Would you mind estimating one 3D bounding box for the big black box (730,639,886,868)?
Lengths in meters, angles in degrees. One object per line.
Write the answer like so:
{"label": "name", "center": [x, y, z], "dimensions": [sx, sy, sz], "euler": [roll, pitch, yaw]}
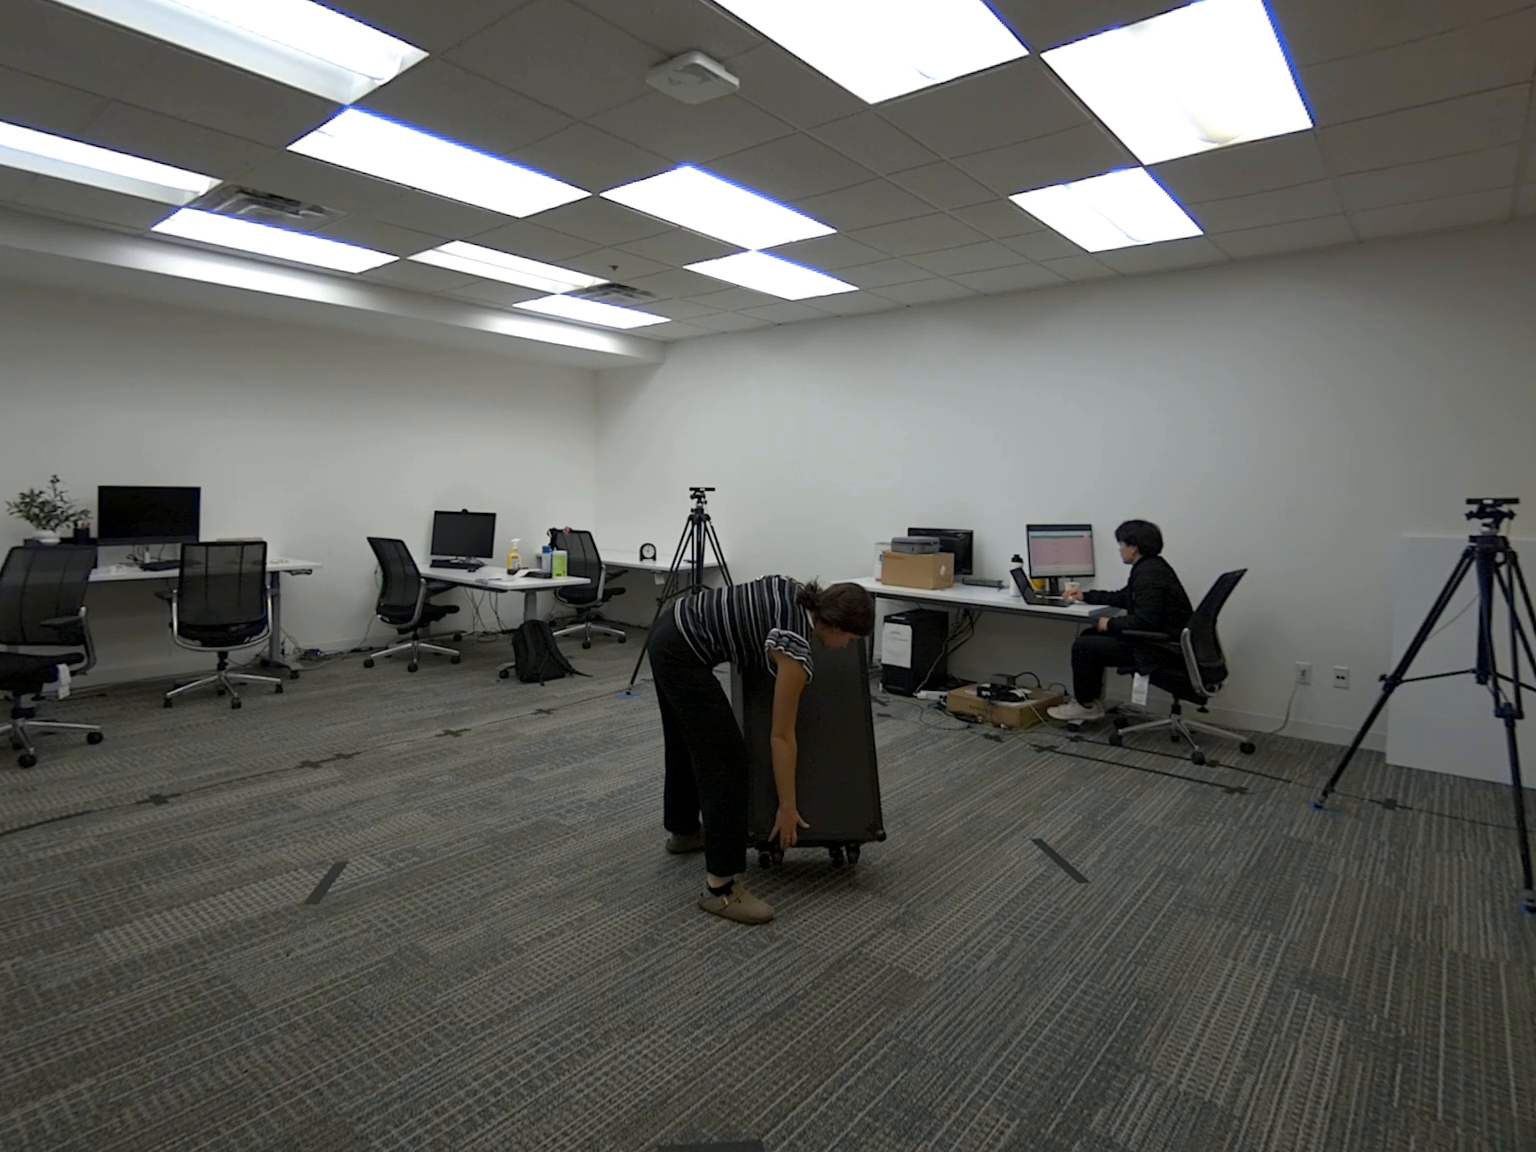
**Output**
{"label": "big black box", "center": [0.114, 0.633, 3.222], "dimensions": [0.518, 0.881, 0.390], "euler": [0, -24, -6]}
